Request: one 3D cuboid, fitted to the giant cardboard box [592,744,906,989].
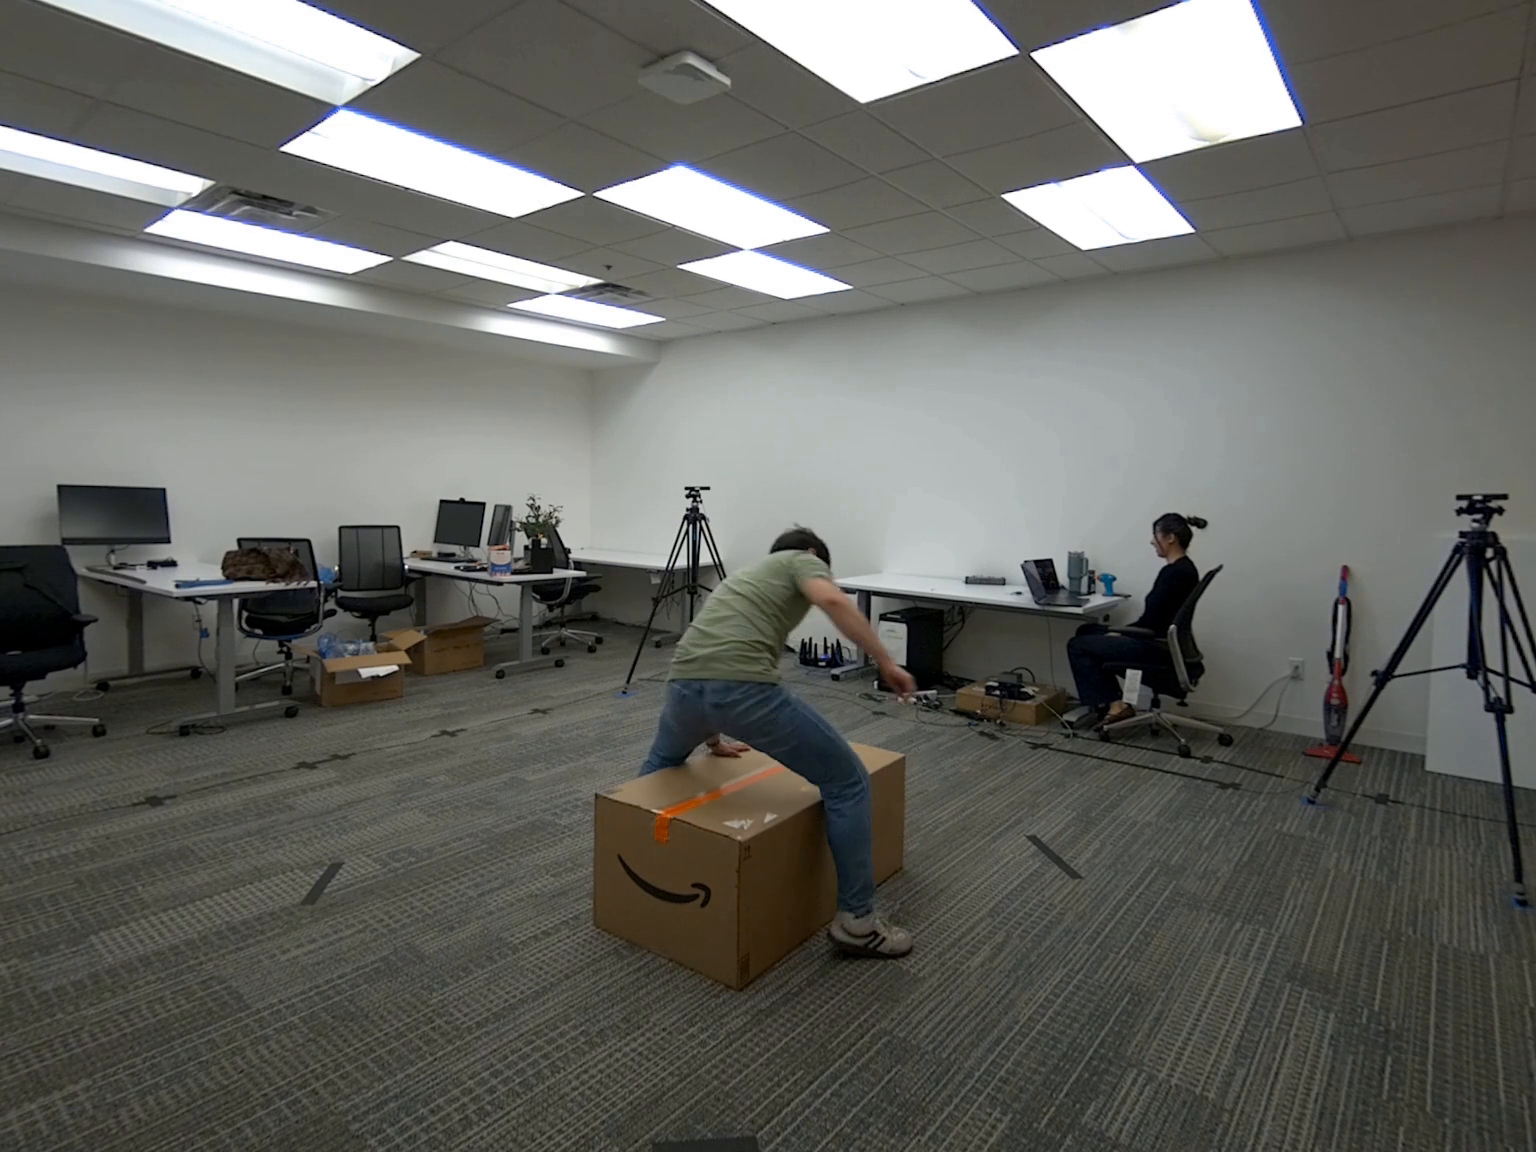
[{"bbox_3d":[-0.027,0.876,2.899,0.596,0.424,0.997,5,6,36],"label":"giant cardboard box"}]
